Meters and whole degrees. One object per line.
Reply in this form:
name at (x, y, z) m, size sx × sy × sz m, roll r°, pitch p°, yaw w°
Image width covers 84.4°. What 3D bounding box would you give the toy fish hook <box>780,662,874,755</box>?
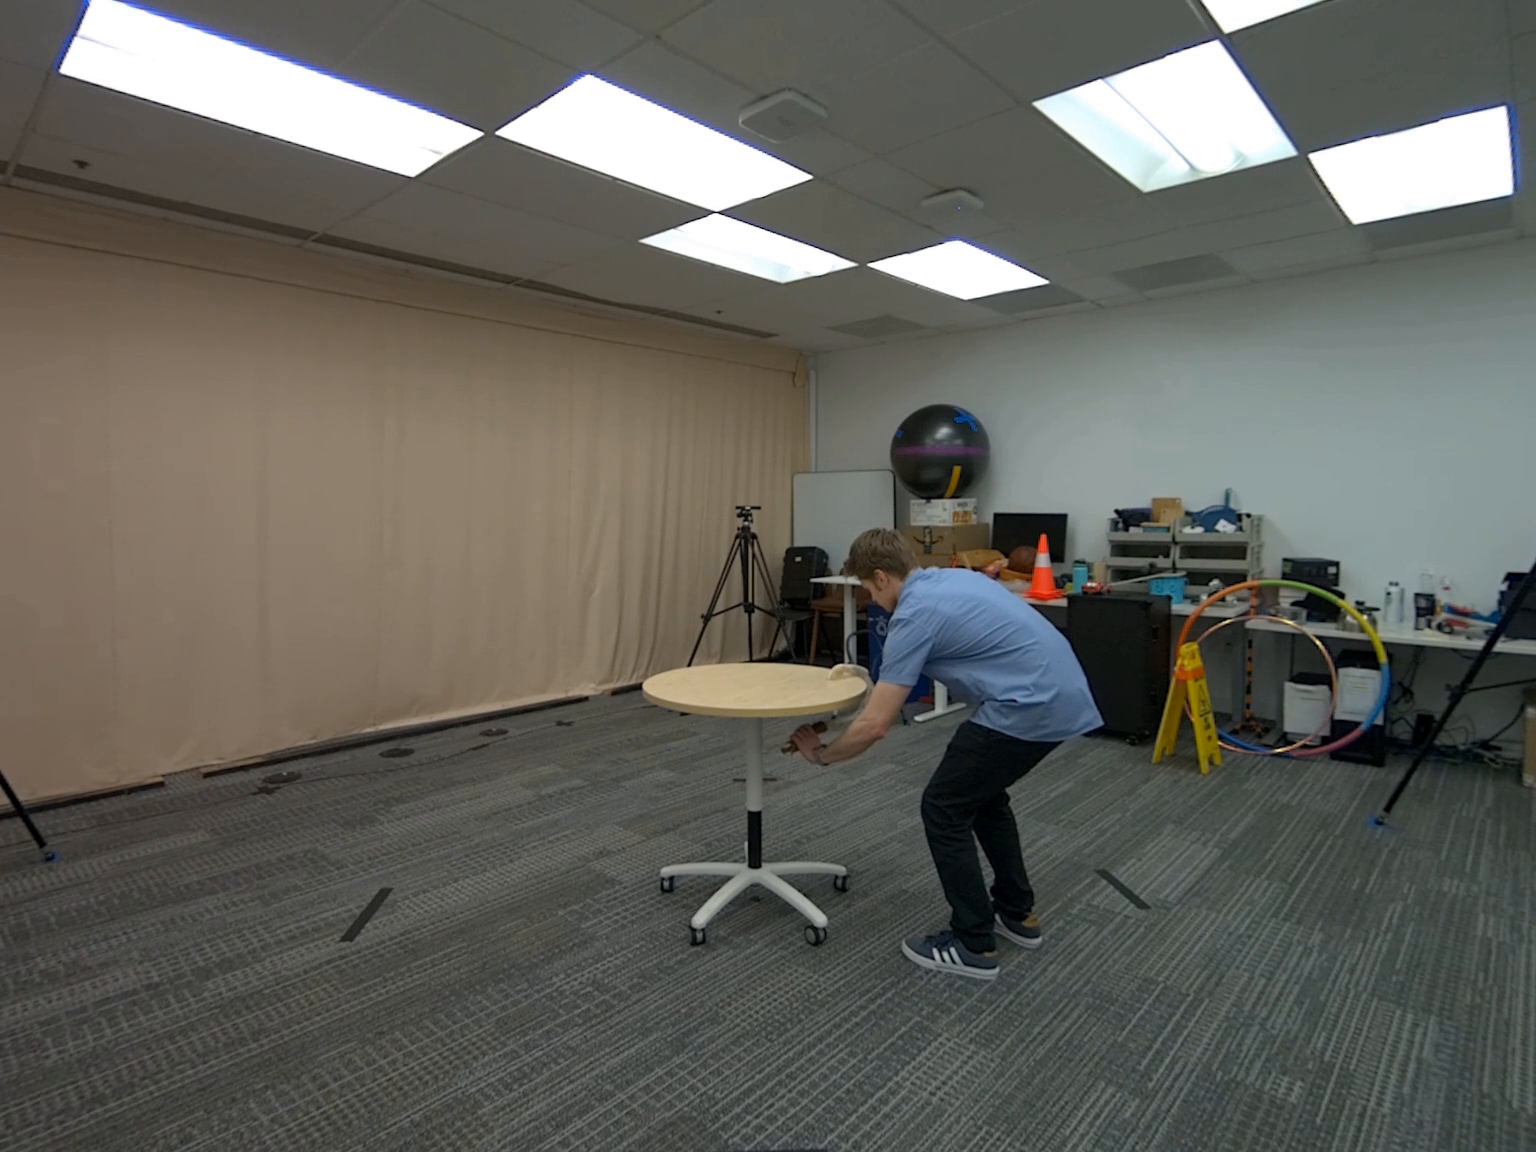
toy fish hook at (0.216, 0.455, 2.883) m, size 0.494 × 0.226 × 0.049 m, roll -19°, pitch -8°, yaw -40°
